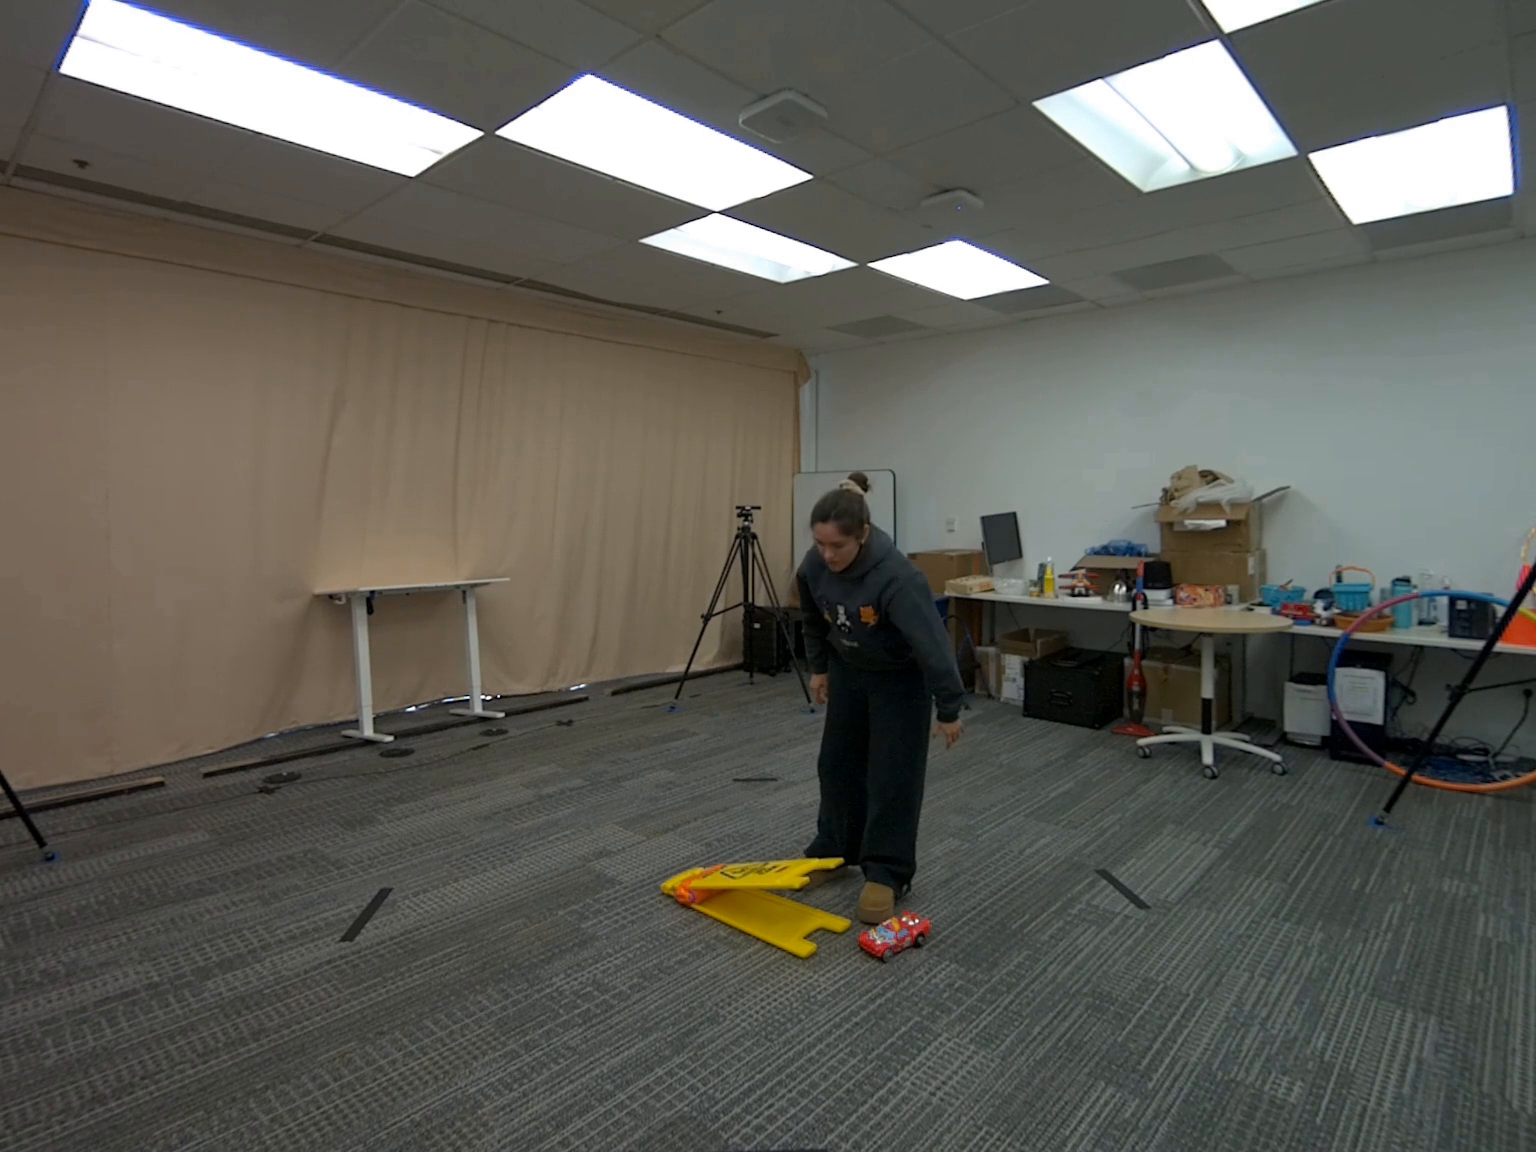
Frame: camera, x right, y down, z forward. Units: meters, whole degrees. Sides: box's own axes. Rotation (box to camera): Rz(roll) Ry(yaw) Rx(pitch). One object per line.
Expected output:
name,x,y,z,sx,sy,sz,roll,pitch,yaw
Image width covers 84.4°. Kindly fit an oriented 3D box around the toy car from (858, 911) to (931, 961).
toy car,0.424,1.130,2.658,0.248,0.082,0.134,-15,13,-33
